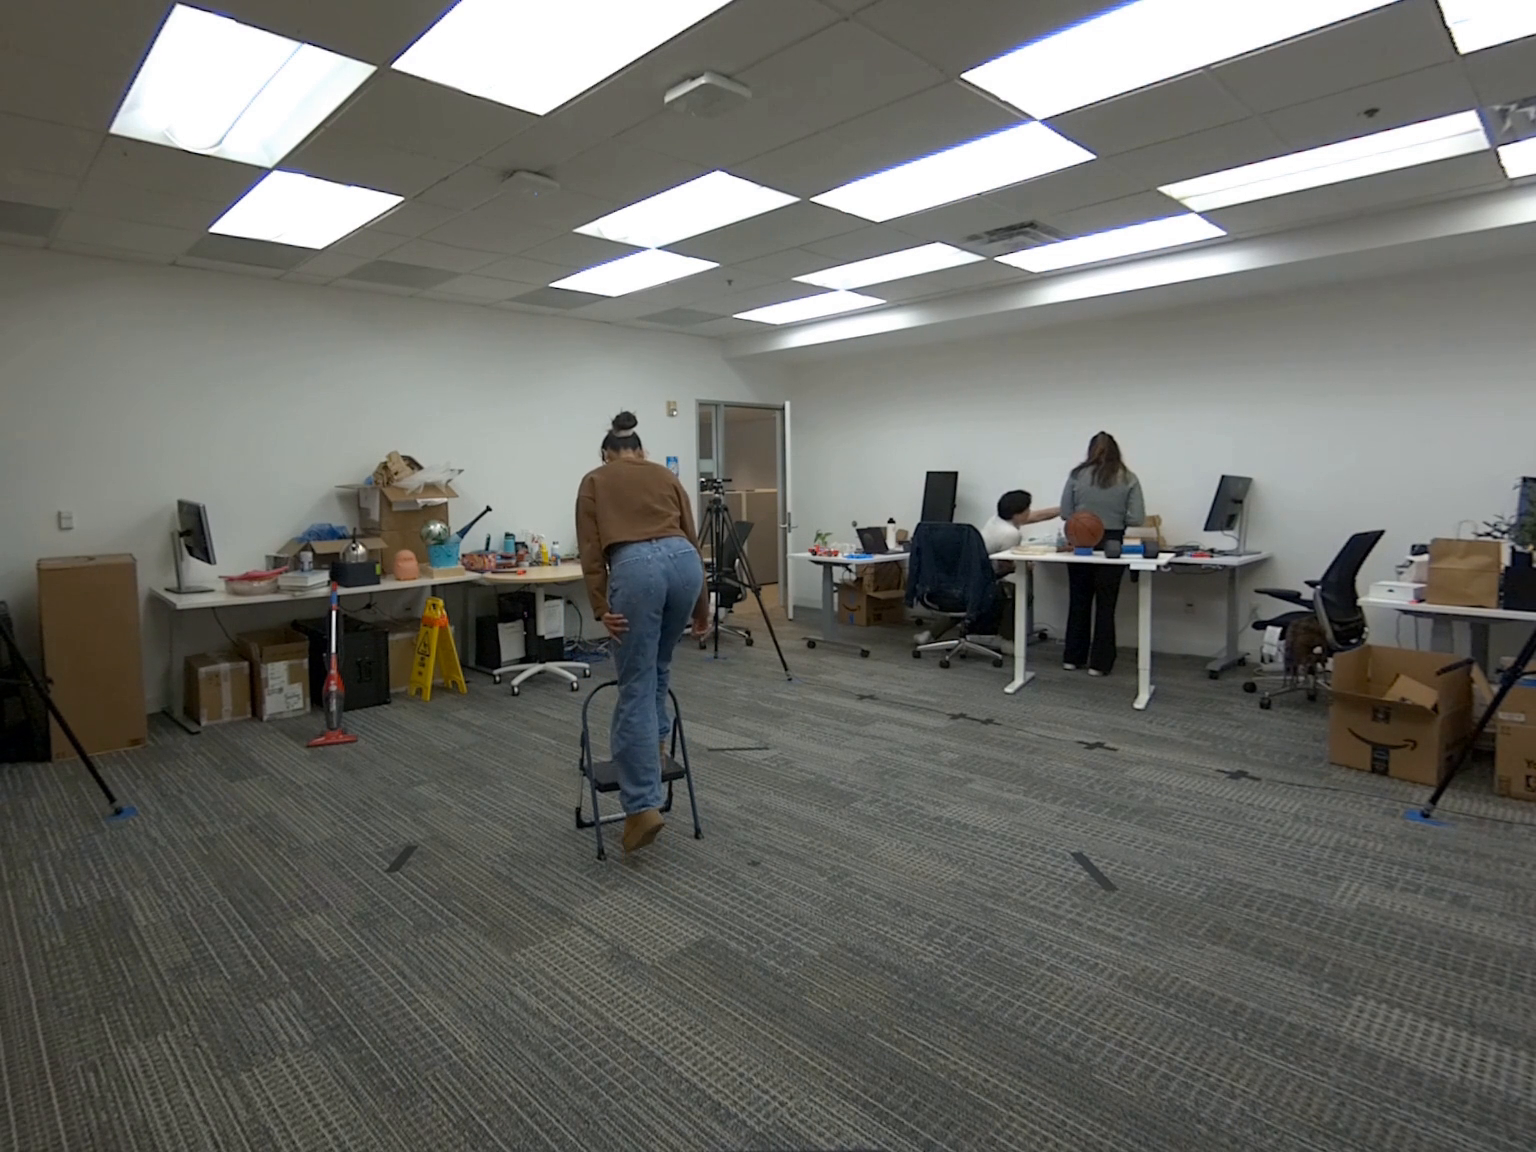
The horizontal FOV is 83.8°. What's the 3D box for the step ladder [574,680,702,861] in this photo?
[{"bbox_3d":[-0.525,0.720,3.383,0.421,0.604,0.358,-4,4,-28],"label":"step ladder"}]
